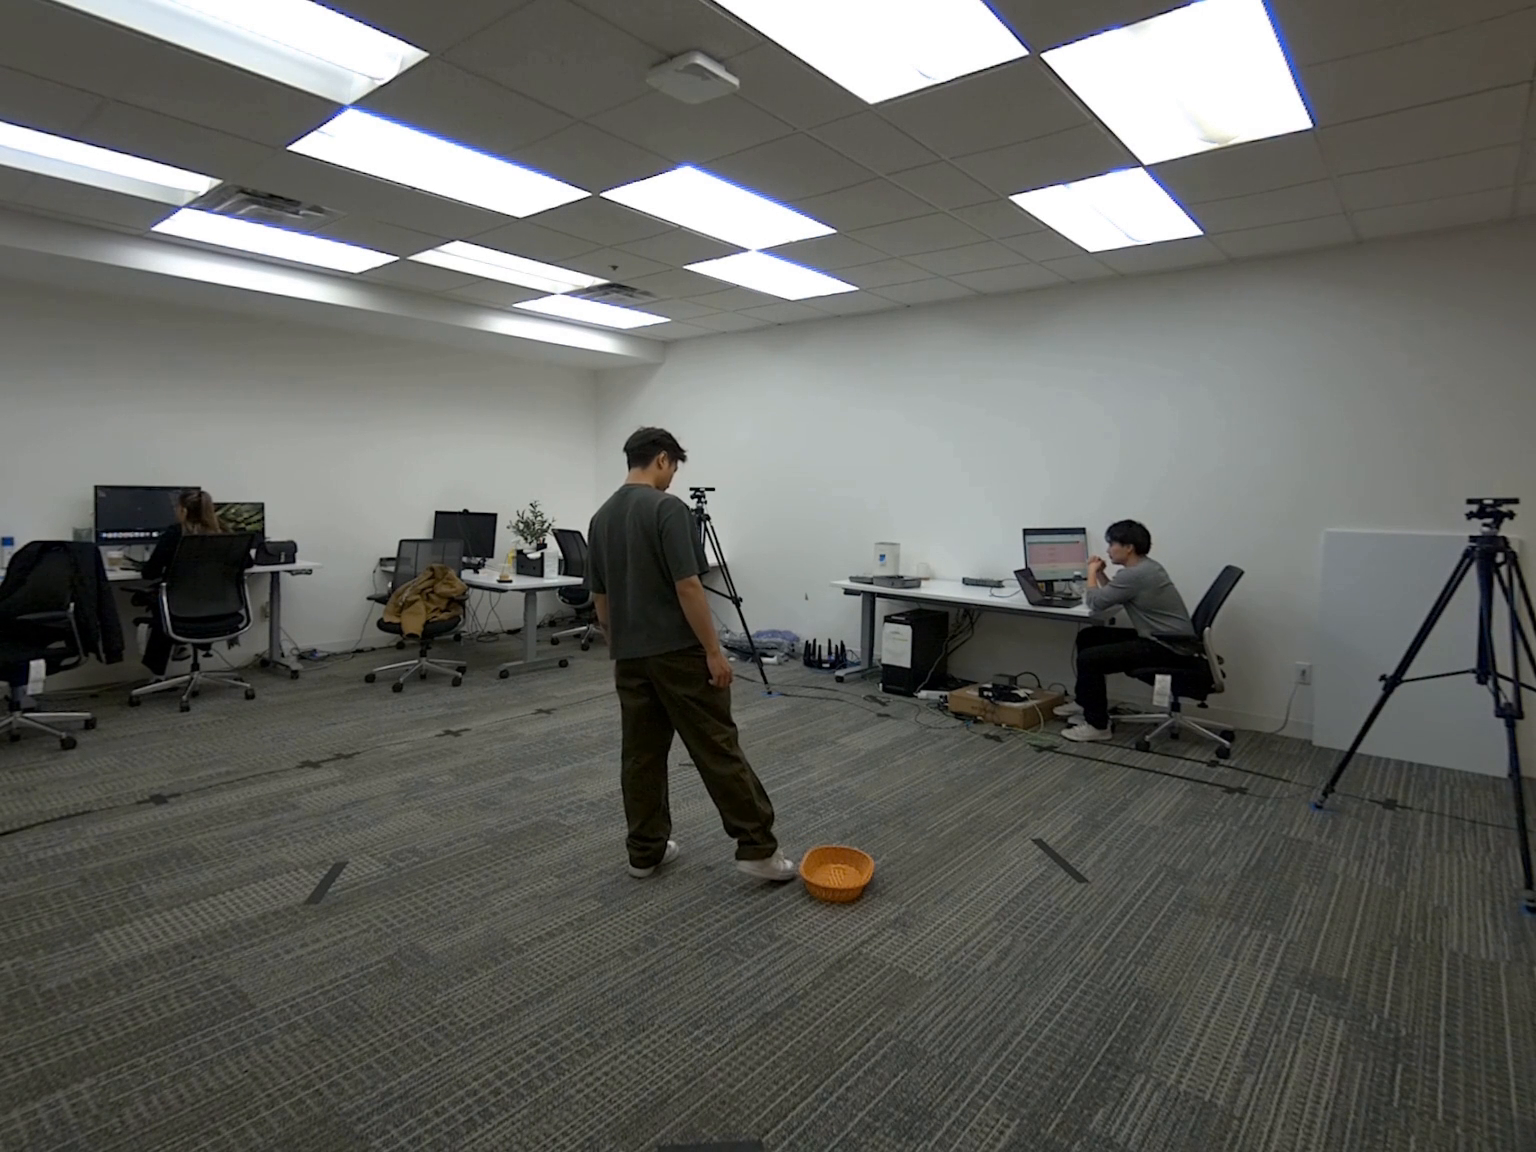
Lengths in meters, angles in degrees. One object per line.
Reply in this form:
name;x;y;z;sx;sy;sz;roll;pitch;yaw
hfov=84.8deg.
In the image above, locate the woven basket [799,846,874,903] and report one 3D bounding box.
woven basket;0.235;1.050;3.003;0.258;0.073;0.344;3;6;20
